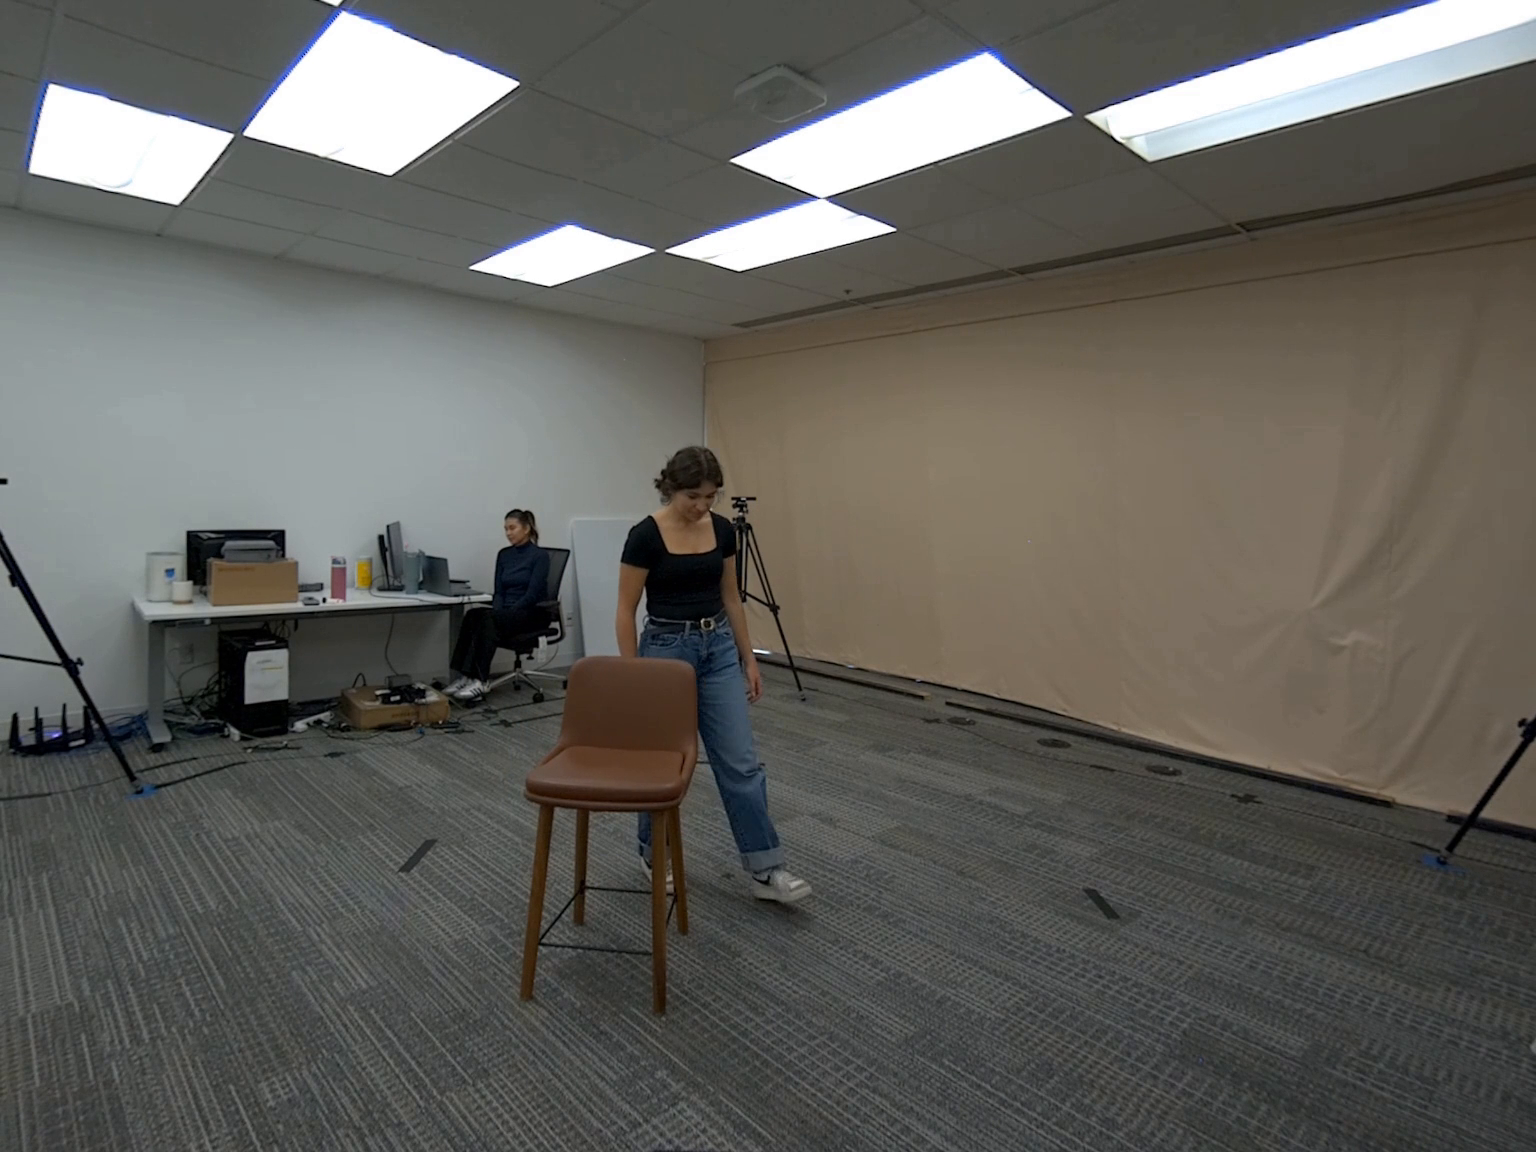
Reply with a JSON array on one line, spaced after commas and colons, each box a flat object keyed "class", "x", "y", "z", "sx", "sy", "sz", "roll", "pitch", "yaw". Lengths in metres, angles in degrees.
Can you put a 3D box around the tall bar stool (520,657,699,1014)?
[{"class": "tall bar stool", "x": -0.456, "y": 0.719, "z": 2.486, "sx": 0.459, "sy": 0.889, "sz": 0.465, "roll": 2, "pitch": 1, "yaw": 6}]
